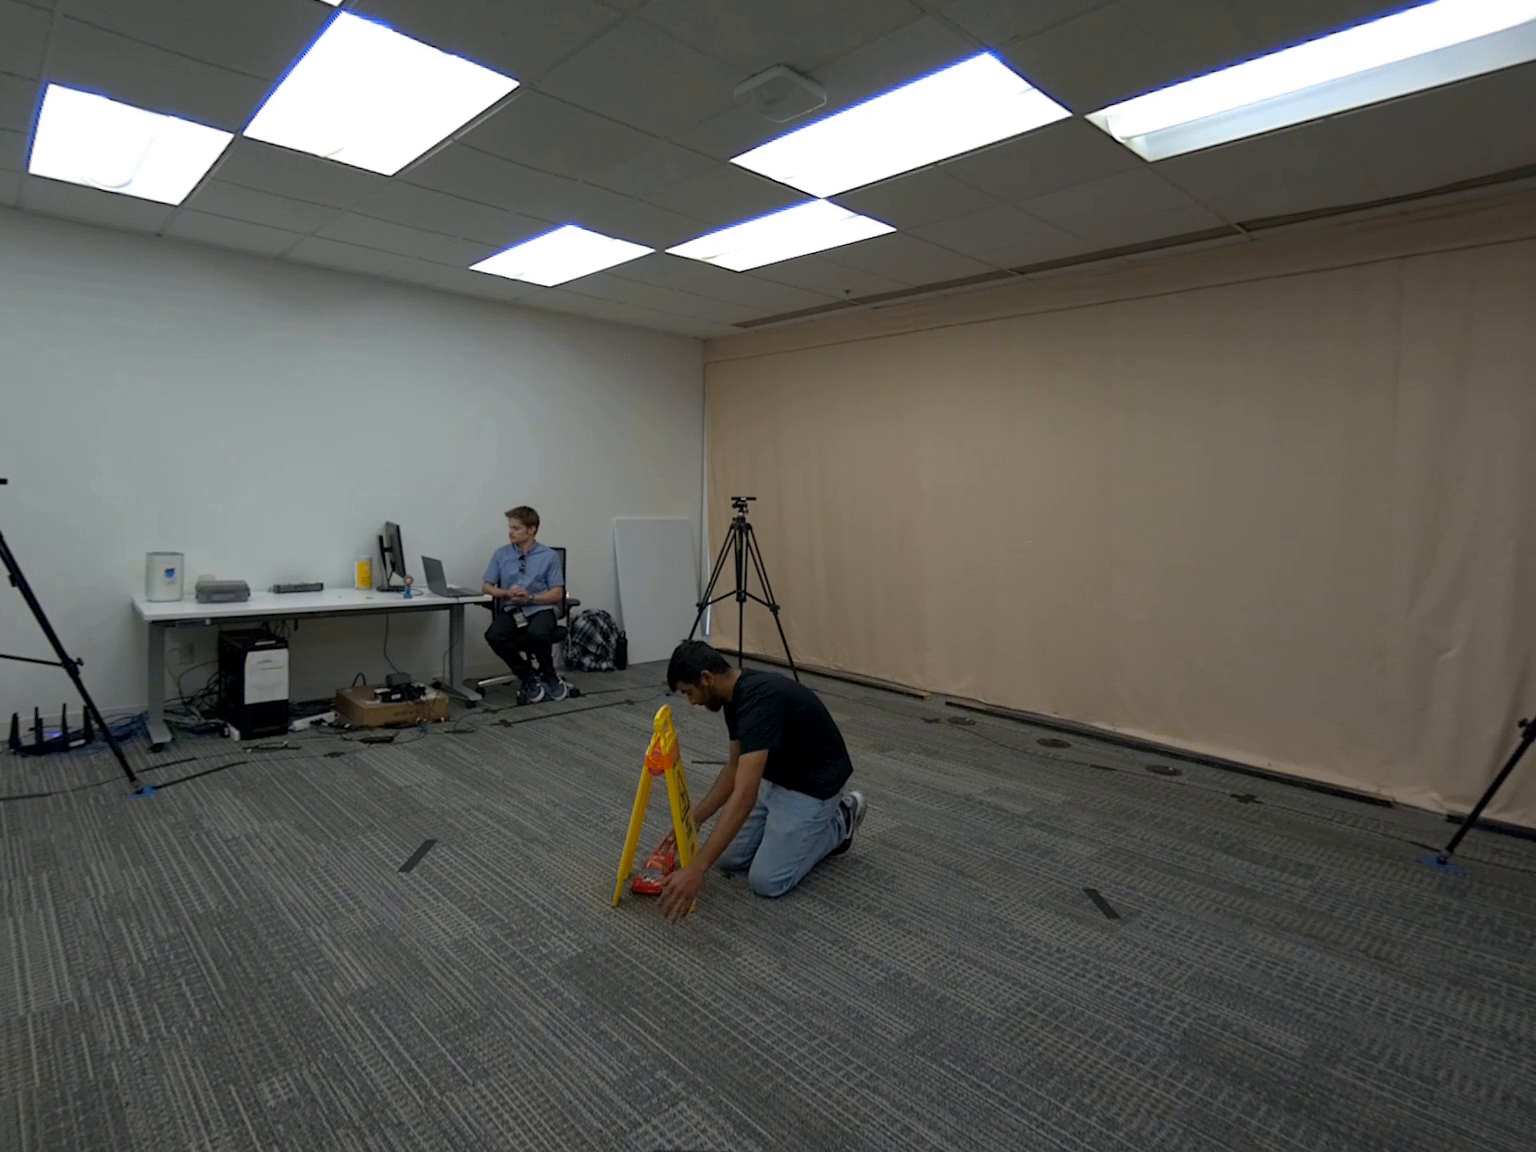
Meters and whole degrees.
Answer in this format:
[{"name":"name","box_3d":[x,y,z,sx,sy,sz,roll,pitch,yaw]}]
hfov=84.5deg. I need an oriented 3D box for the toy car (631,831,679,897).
[{"name":"toy car","box_3d":[-0.408,1.064,3.062,0.131,0.082,0.255,-1,15,10]}]
